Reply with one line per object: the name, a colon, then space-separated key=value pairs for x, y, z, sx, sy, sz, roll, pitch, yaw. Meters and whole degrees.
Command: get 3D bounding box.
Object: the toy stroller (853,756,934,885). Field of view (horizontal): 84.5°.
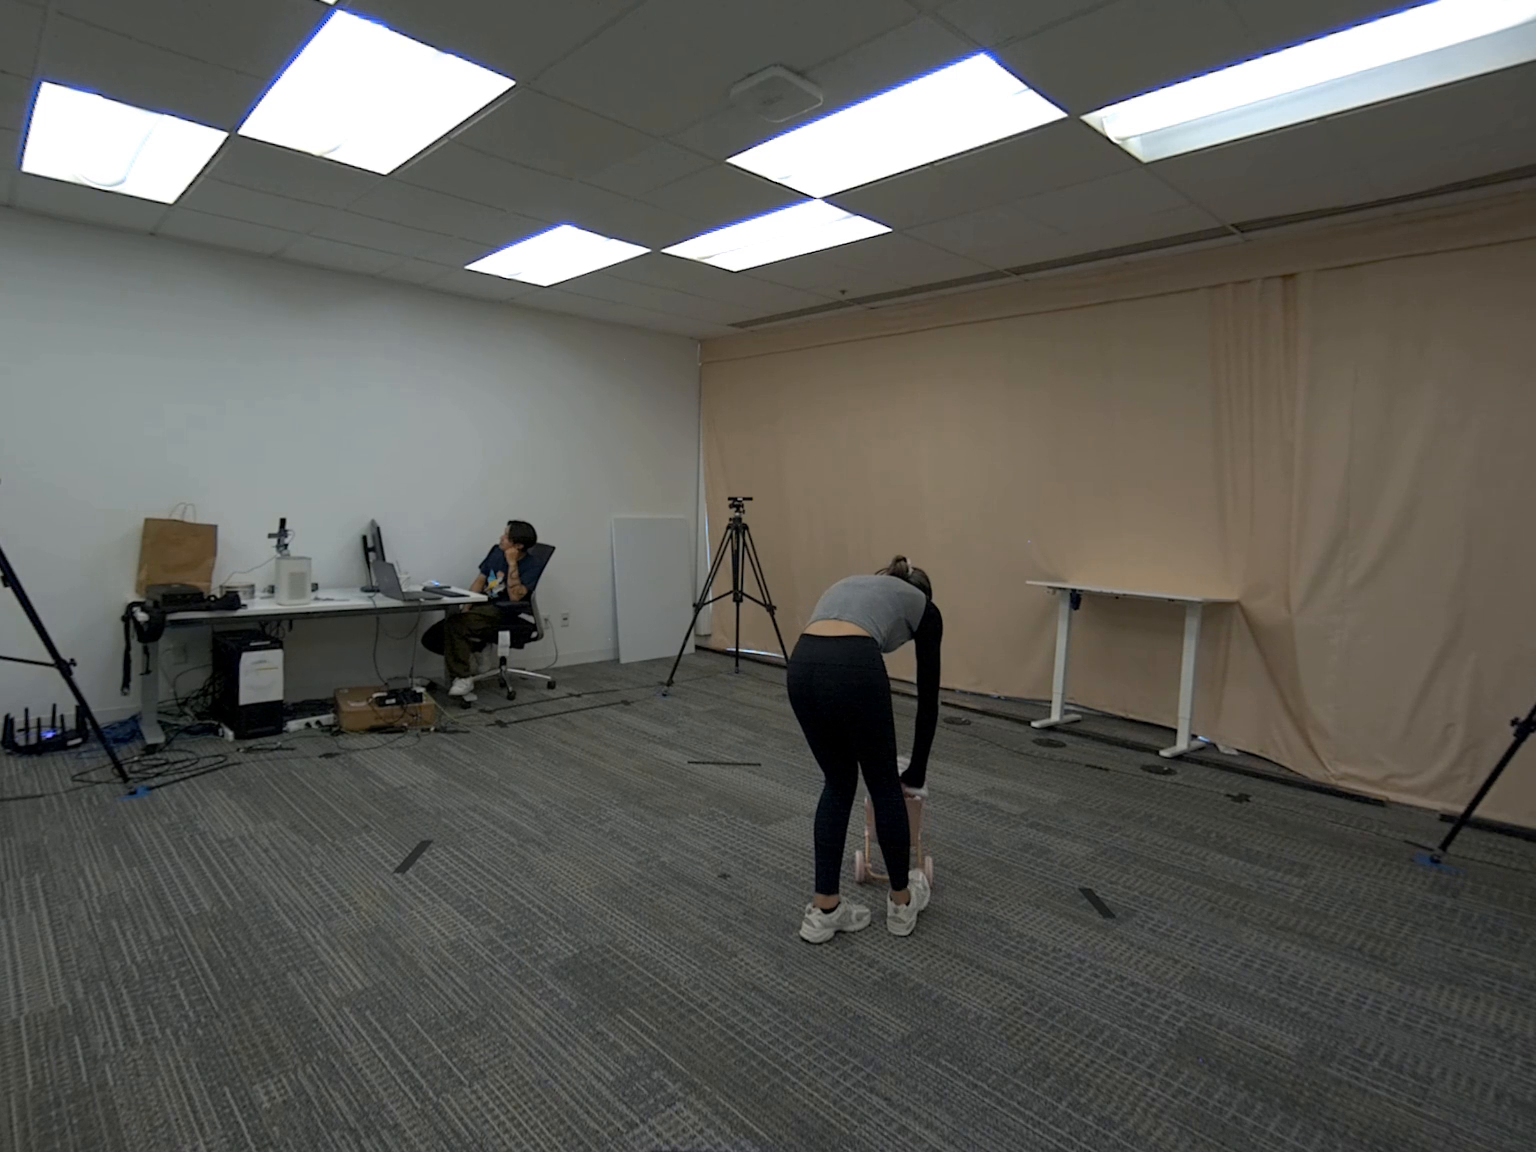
toy stroller: x=0.469 y=0.903 z=3.121 sx=0.284 sy=0.527 sz=0.343 roll=3 pitch=20 yaw=11
